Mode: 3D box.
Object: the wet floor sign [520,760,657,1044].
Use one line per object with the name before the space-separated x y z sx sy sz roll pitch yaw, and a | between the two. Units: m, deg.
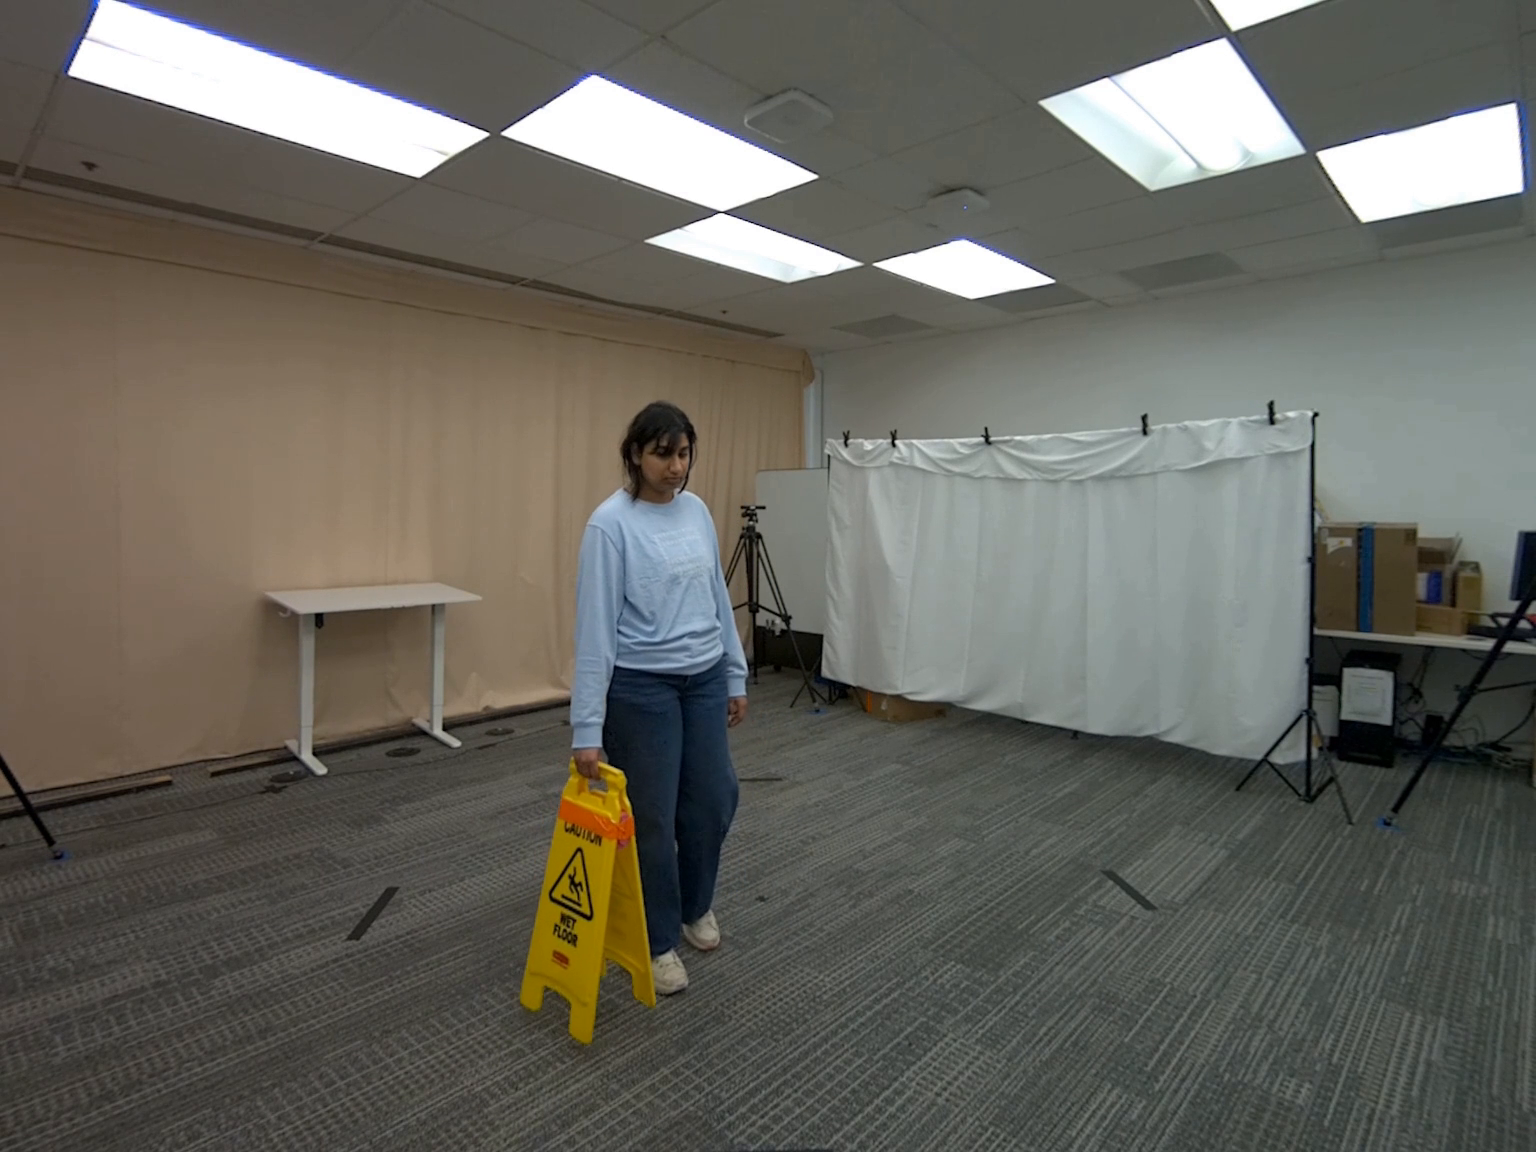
wet floor sign | -0.466 0.824 2.245 0.291 0.645 0.281 3 3 40
